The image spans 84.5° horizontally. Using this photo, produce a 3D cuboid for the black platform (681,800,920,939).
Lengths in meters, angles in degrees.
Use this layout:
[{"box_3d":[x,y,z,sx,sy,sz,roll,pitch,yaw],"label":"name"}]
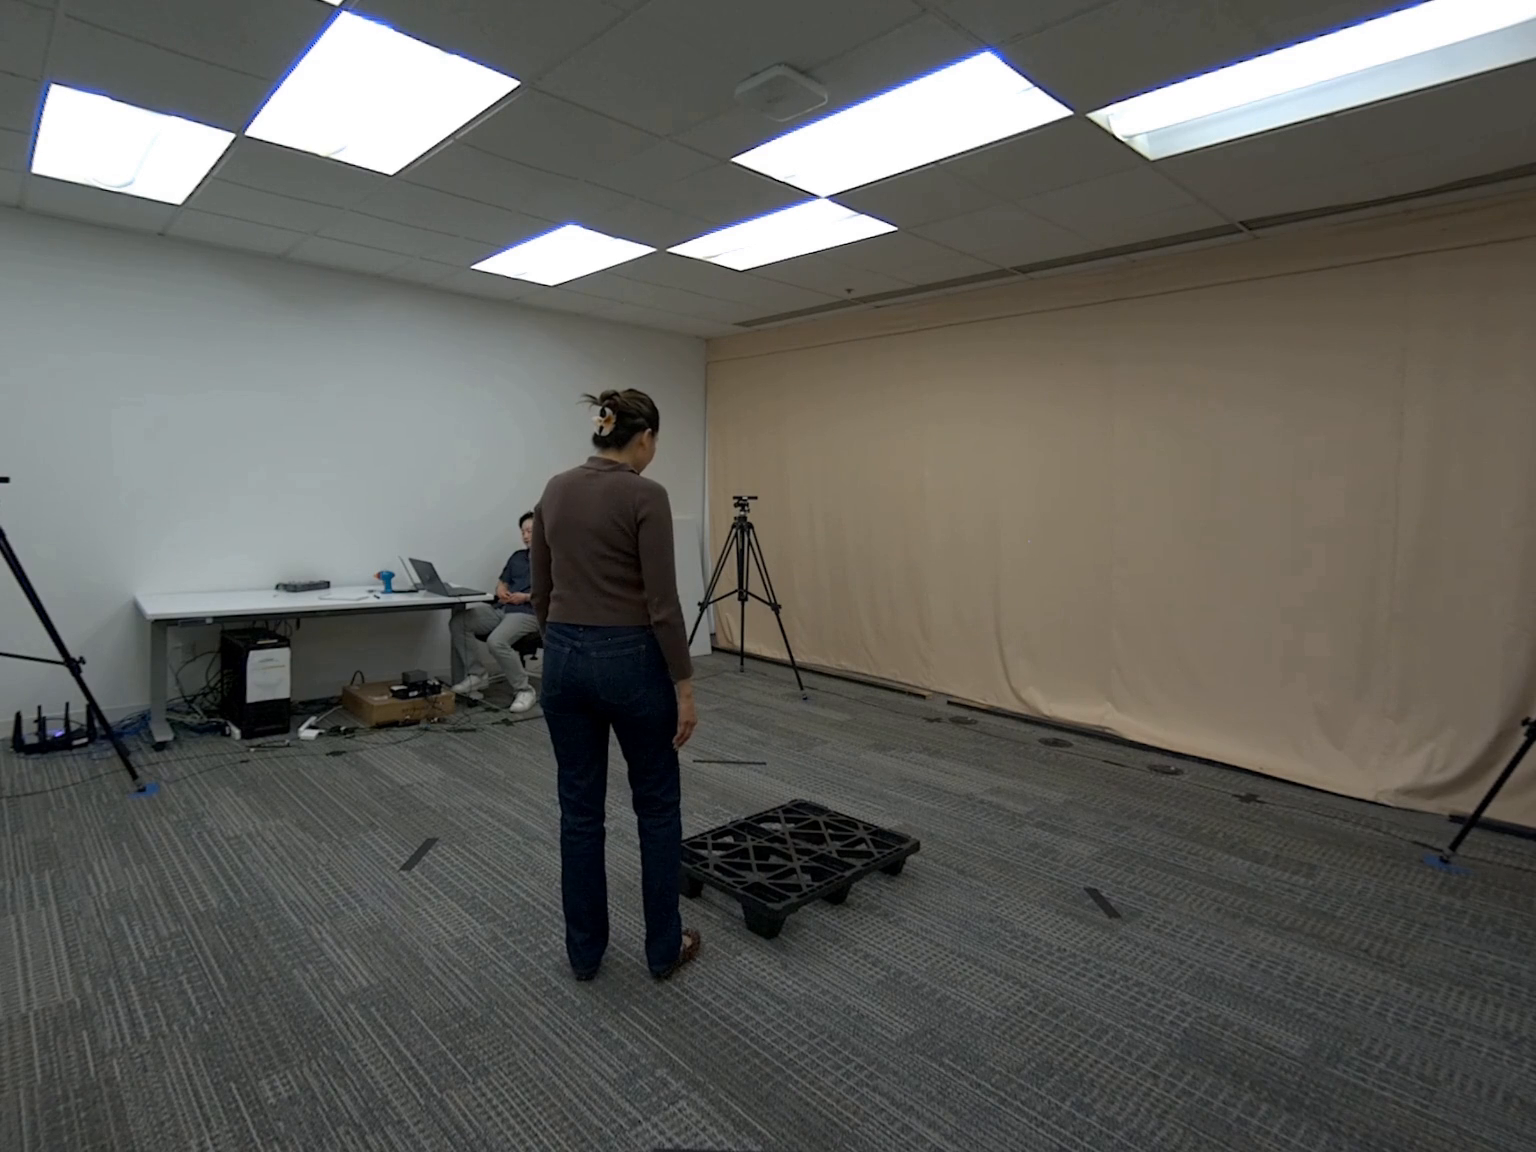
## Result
[{"box_3d":[0.070,1.045,3.063,0.620,0.143,0.787,5,6,44],"label":"black platform"}]
